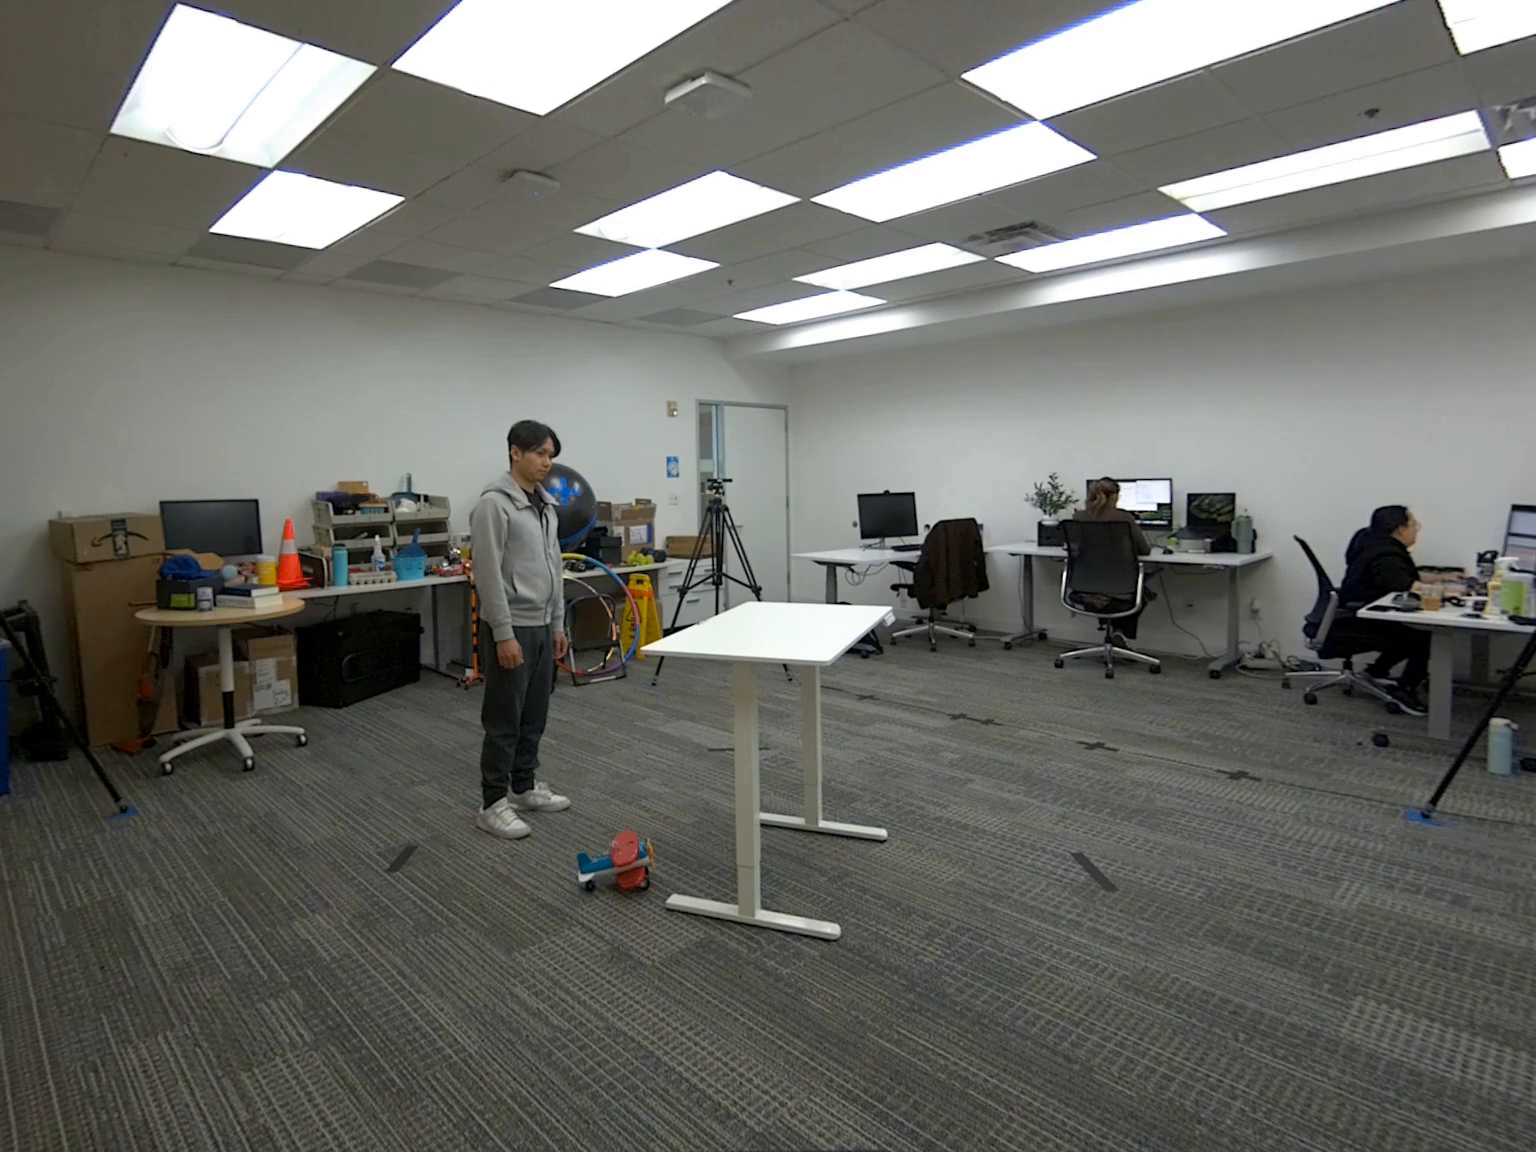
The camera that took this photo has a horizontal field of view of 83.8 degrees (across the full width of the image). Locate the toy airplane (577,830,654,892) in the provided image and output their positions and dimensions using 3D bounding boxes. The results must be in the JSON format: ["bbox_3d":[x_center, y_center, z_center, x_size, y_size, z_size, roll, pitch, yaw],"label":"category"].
[{"bbox_3d":[-0.514,0.997,2.927,0.253,0.156,0.259,-5,7,-36],"label":"toy airplane"}]
